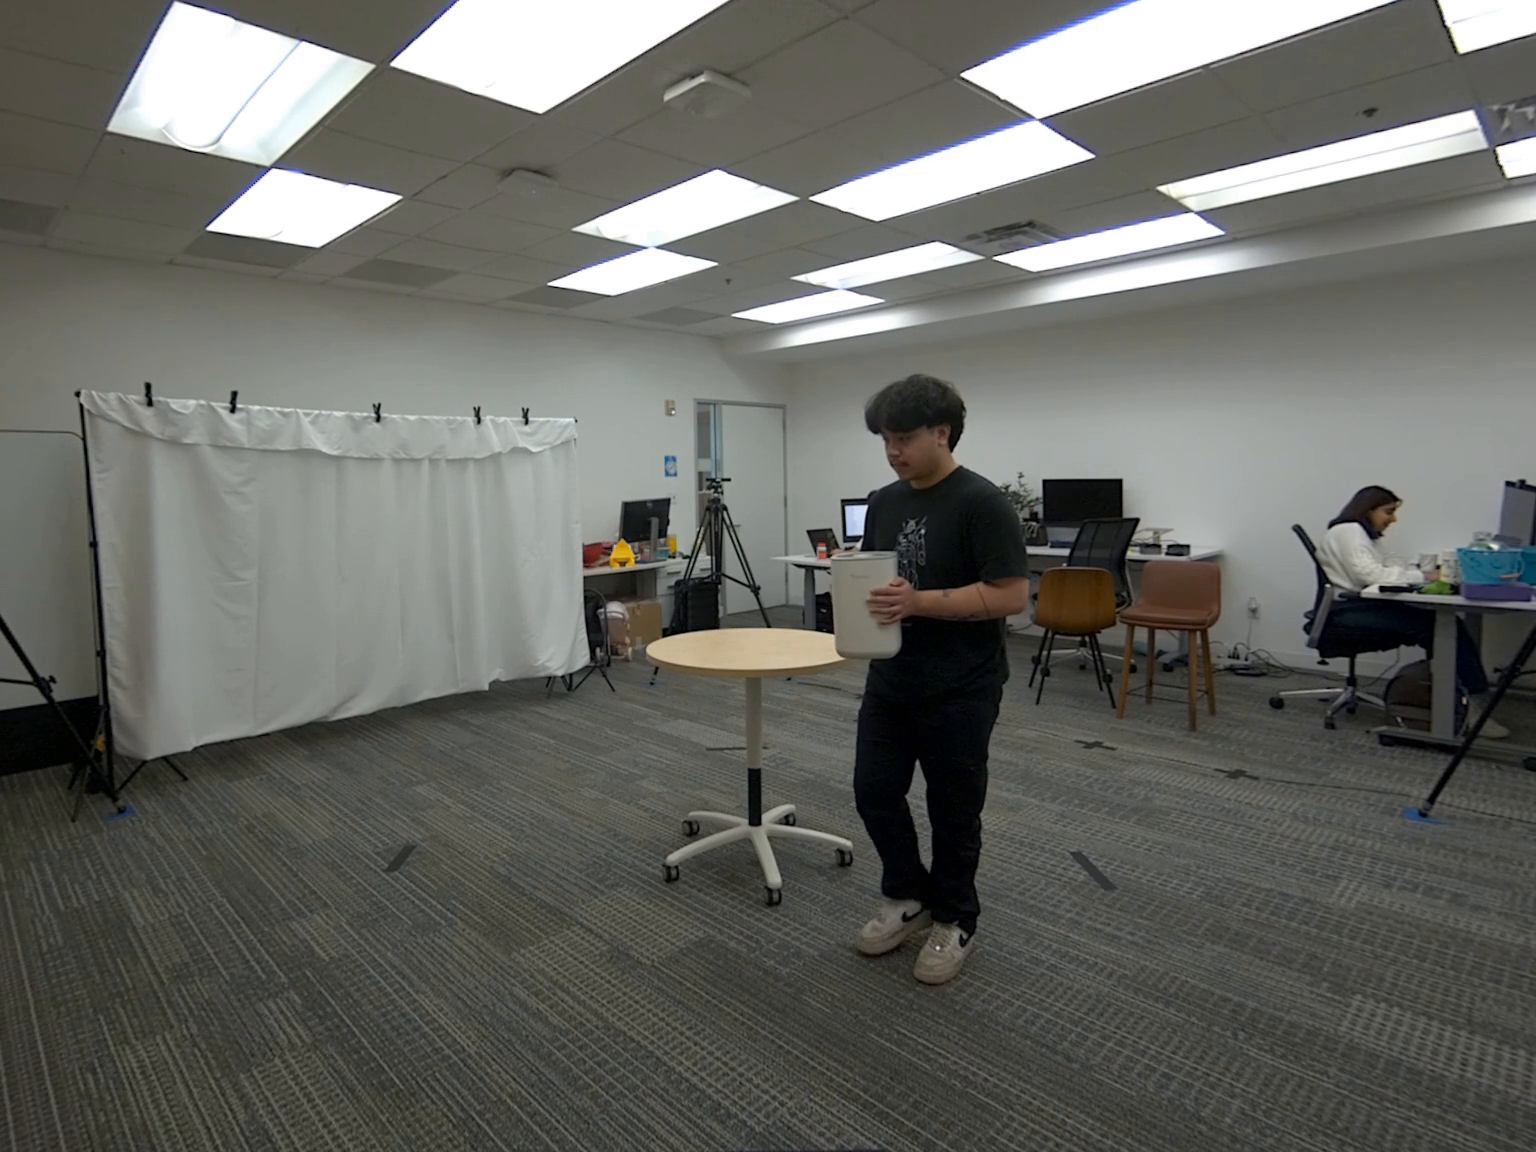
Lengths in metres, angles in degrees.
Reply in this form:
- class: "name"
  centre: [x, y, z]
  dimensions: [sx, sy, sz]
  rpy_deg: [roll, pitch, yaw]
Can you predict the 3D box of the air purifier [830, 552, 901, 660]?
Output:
- class: "air purifier"
  centre: [0.263, 0.076, 2.244]
  dimensions: [0.172, 0.264, 0.171]
  rpy_deg: [-3, 5, 9]
